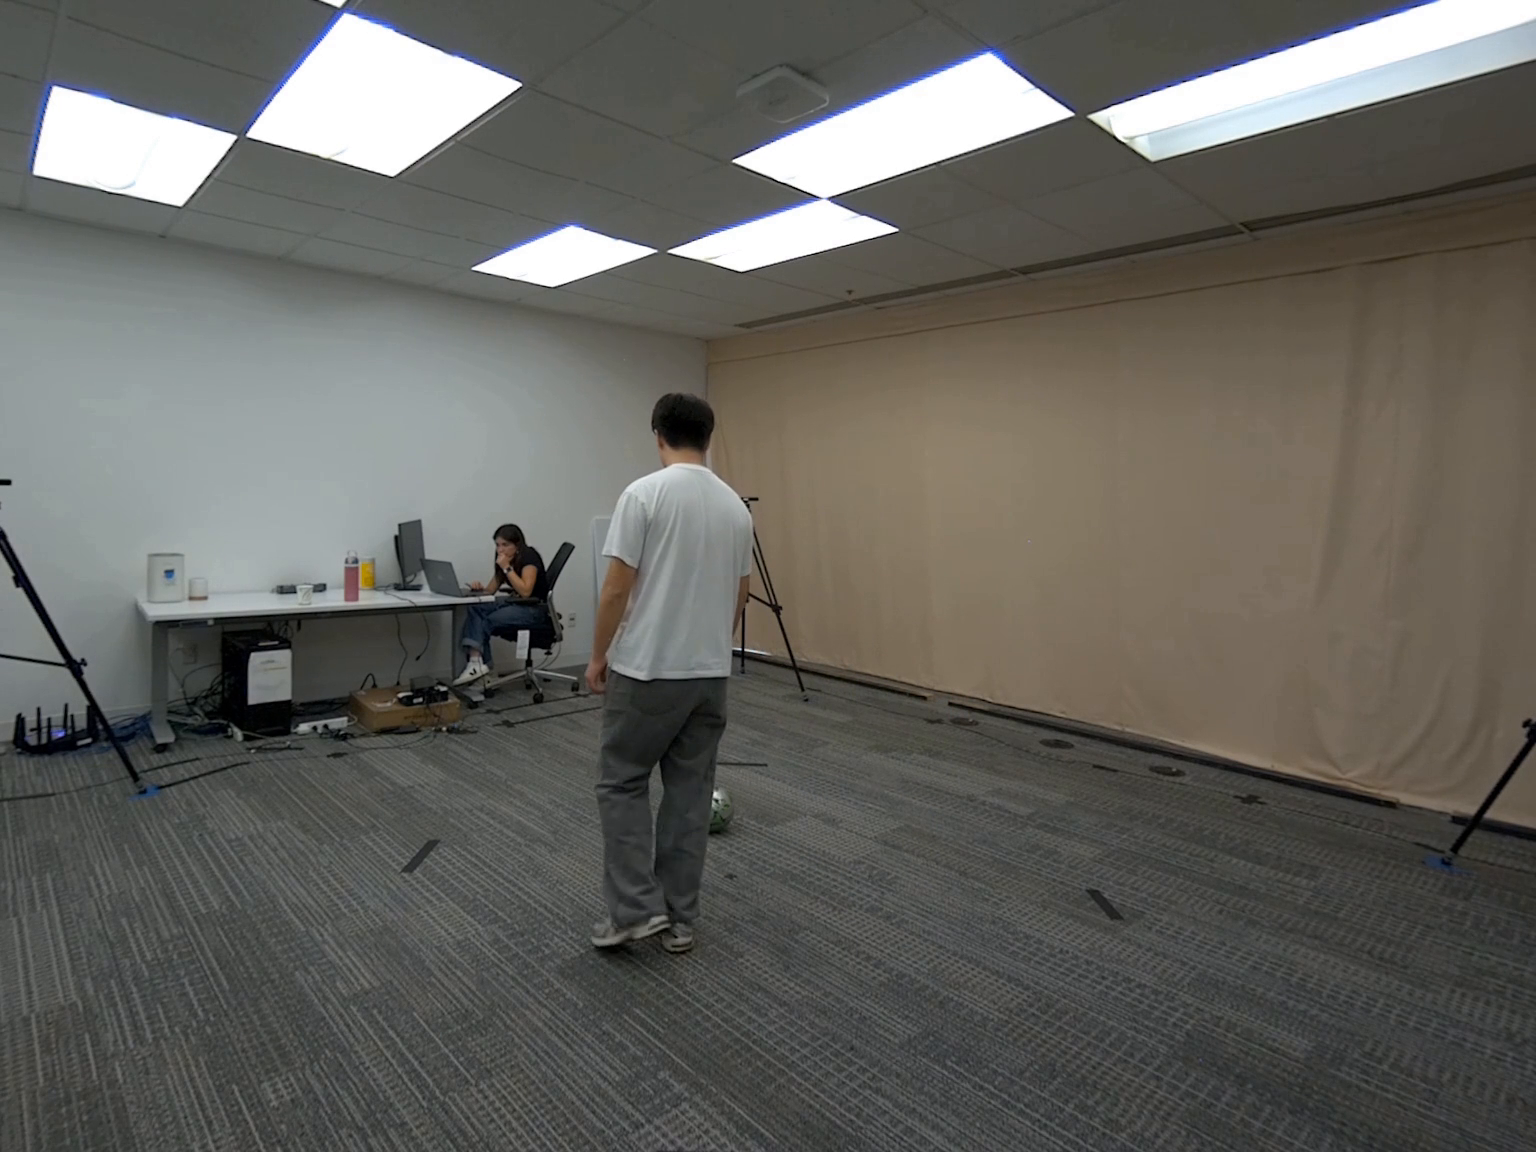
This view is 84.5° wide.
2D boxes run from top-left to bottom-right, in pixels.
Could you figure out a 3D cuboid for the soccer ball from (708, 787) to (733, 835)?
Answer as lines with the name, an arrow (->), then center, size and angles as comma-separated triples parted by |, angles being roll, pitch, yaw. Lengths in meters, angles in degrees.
soccer ball -> -0.241, 0.980, 3.531 | 0.187, 0.187, 0.188 | 1, 4, -1
